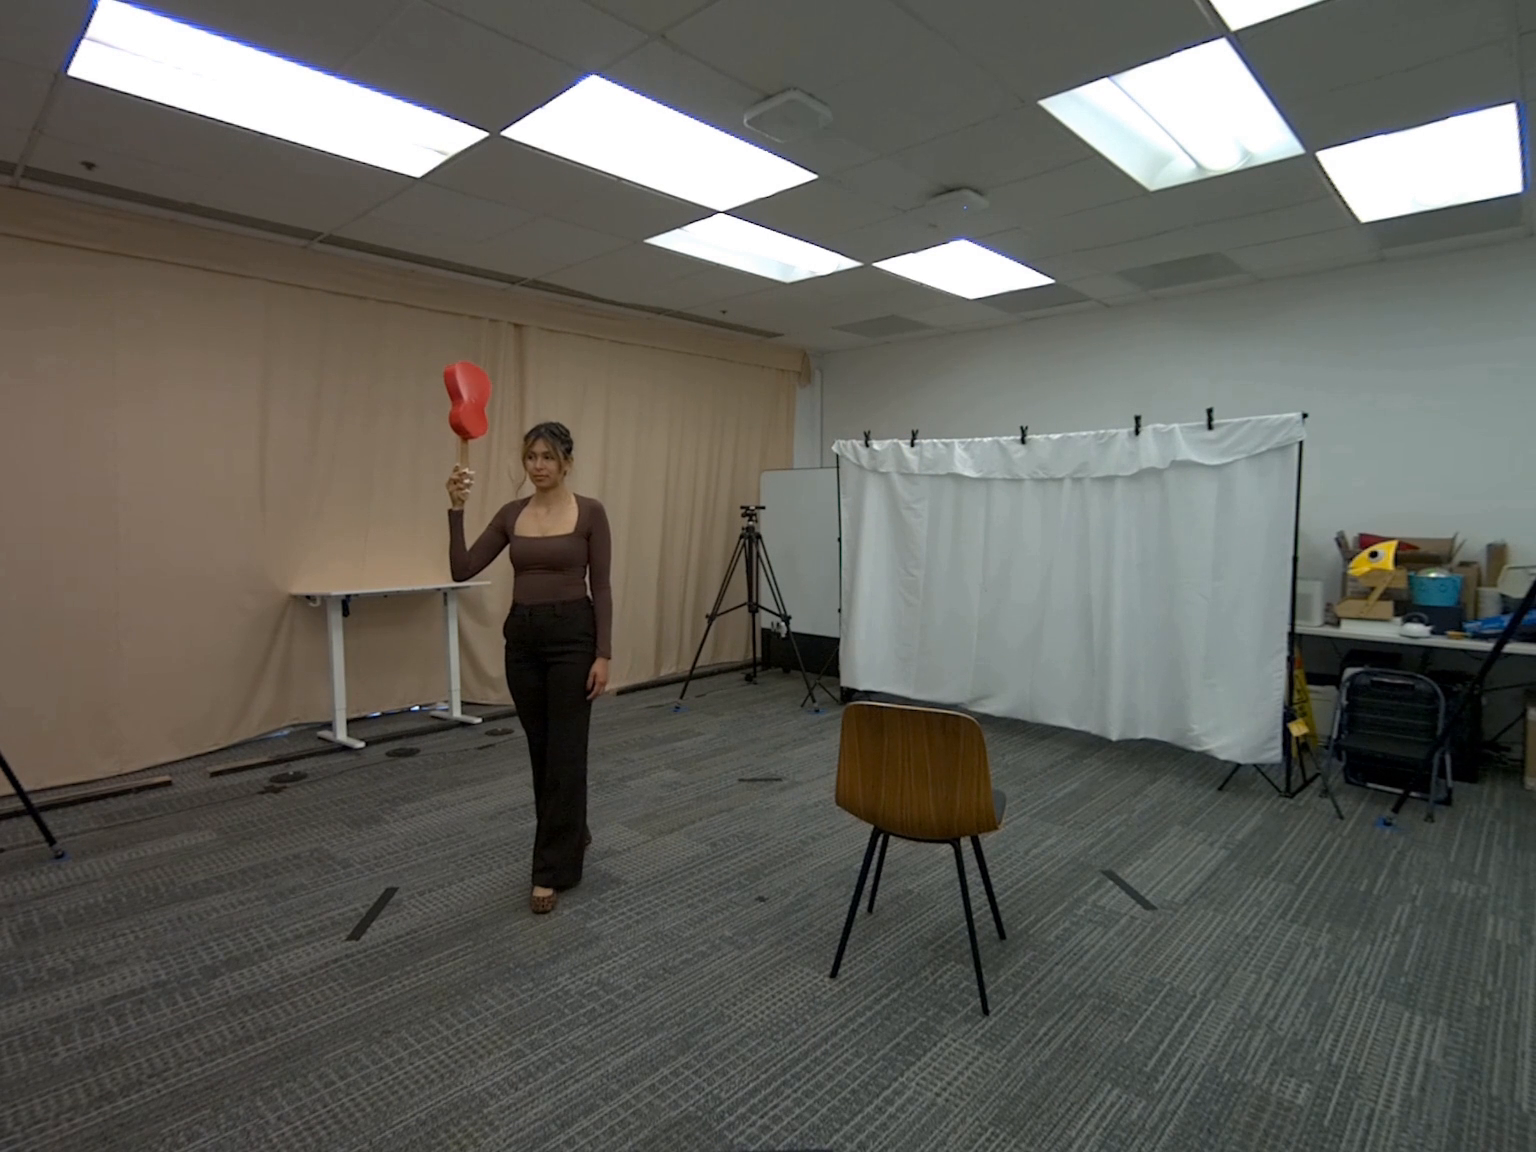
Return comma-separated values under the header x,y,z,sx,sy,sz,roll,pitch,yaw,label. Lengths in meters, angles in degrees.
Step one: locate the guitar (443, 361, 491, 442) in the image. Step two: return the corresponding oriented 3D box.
x,y,z,sx,sy,sz,roll,pitch,yaw,label
-1.063,-0.523,3.063,0.072,0.498,0.189,-9,0,18,guitar
